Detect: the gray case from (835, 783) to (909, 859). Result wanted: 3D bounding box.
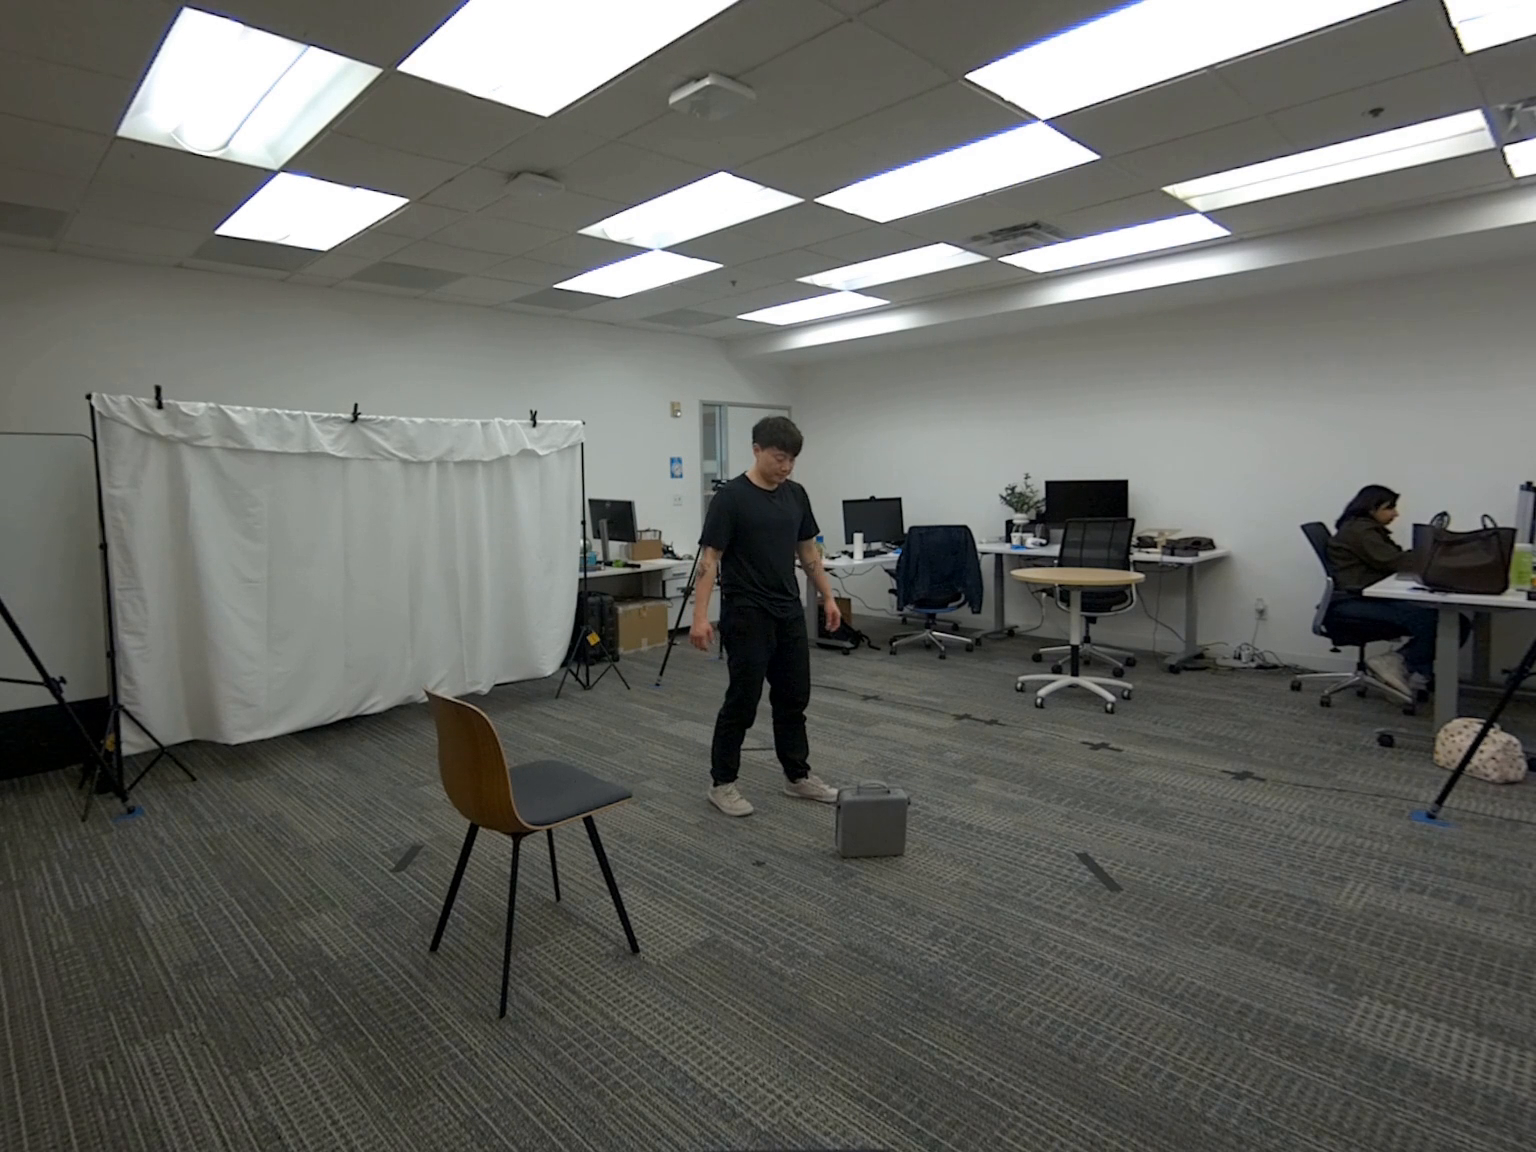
[{"bbox_3d":[0.390,0.900,3.156,0.256,0.258,0.106,-2,12,-4],"label":"gray case"}]
